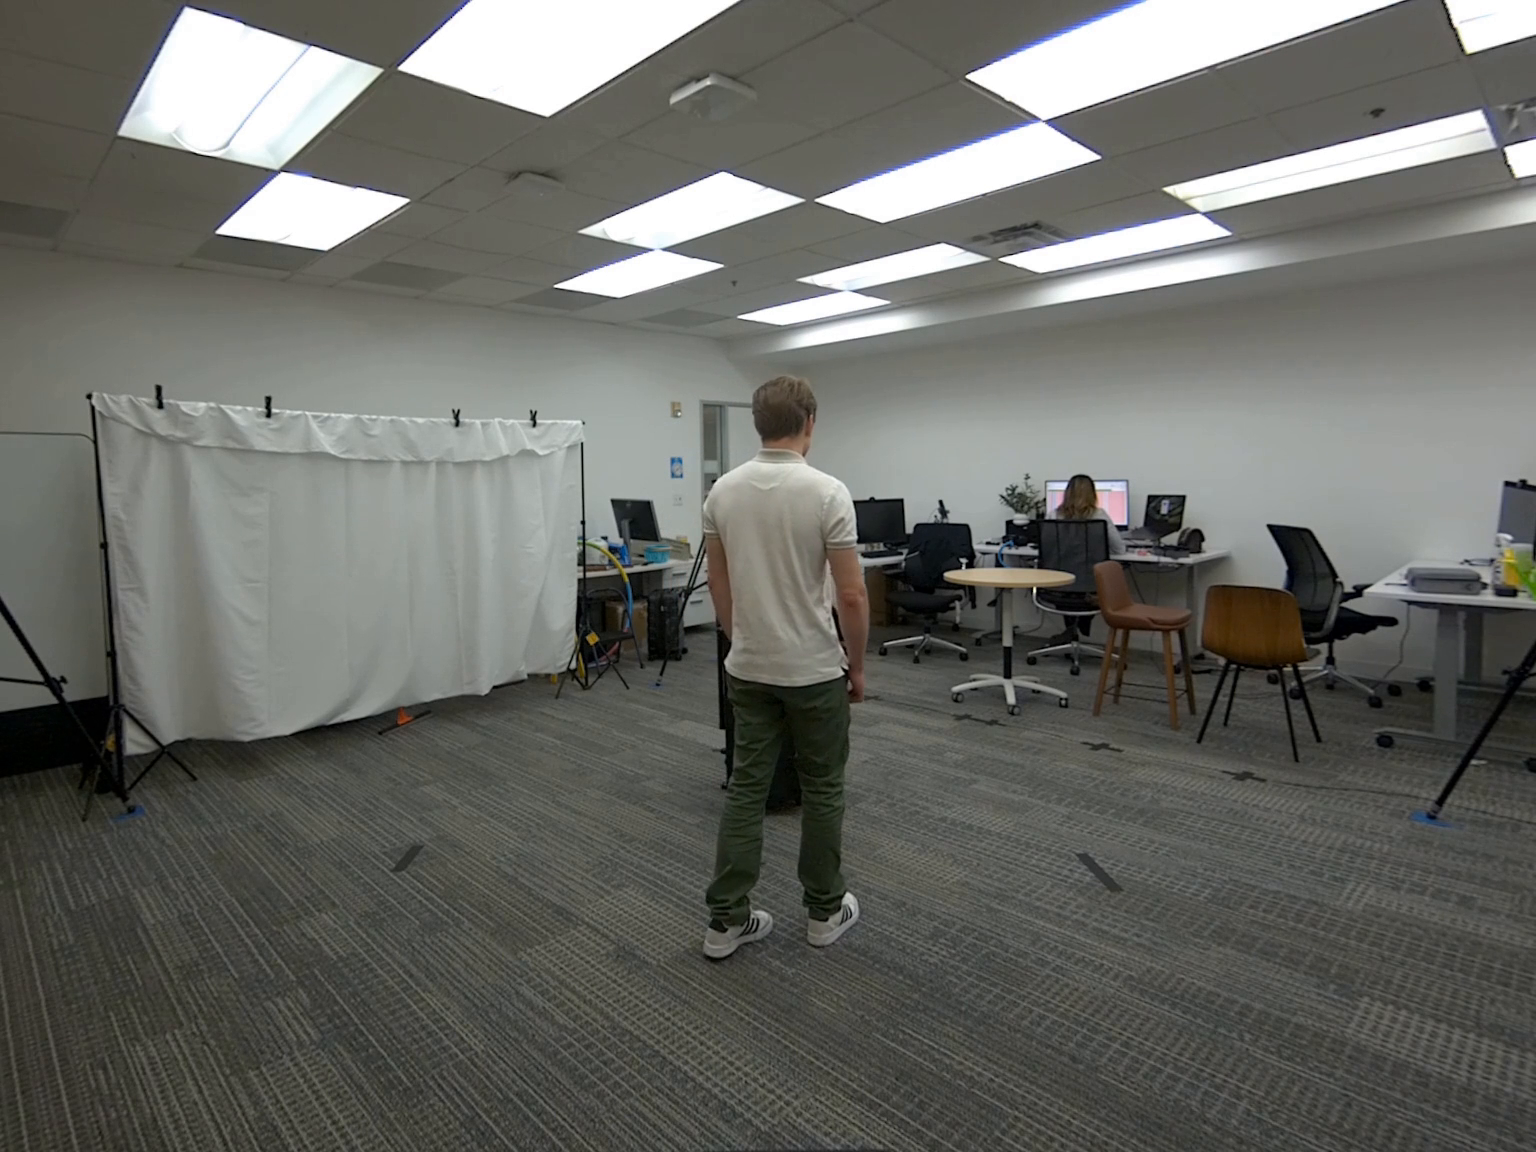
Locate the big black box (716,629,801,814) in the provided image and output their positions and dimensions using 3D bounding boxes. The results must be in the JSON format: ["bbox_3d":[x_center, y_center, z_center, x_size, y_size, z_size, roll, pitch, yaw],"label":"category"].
[{"bbox_3d":[-0.016,0.554,3.749,0.384,0.866,0.526,-1,4,-3],"label":"big black box"}]
